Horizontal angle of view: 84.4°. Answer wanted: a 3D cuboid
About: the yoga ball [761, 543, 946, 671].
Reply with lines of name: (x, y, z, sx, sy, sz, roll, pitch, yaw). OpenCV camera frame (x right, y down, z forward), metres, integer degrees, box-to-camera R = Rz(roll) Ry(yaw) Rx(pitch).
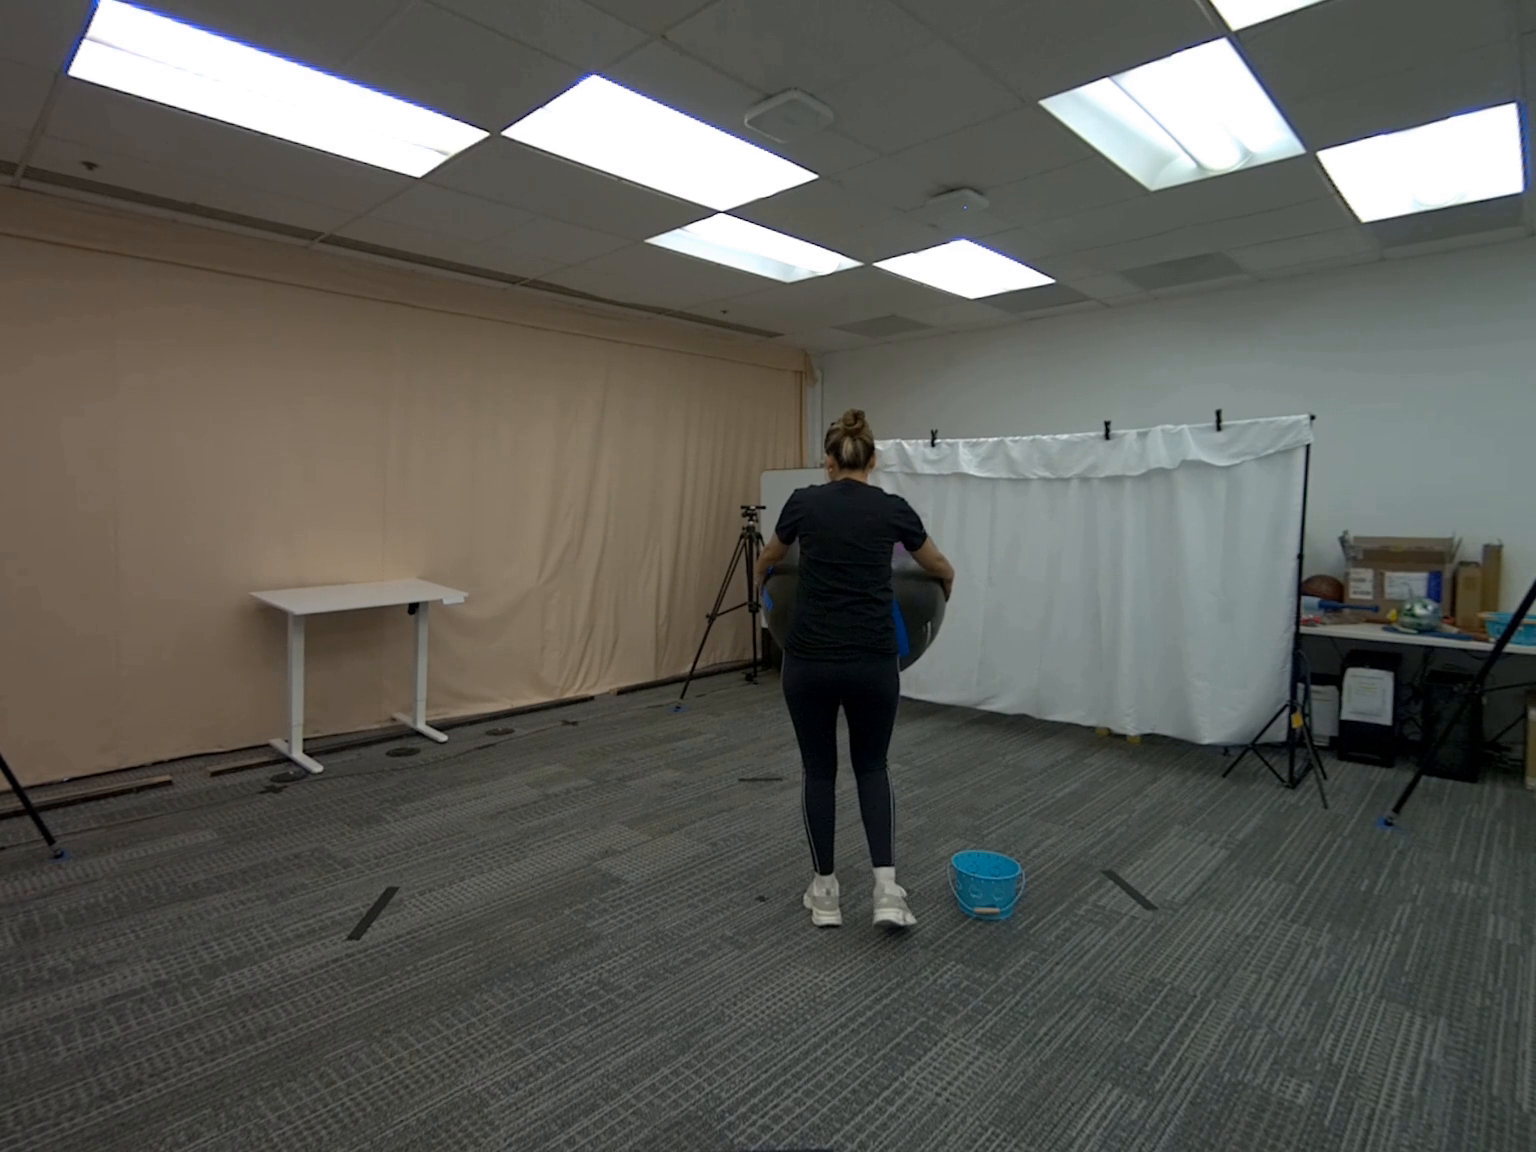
yoga ball: (0.354, 0.067, 3.445, 0.757, 0.756, 0.761, 0, 4, -2)
